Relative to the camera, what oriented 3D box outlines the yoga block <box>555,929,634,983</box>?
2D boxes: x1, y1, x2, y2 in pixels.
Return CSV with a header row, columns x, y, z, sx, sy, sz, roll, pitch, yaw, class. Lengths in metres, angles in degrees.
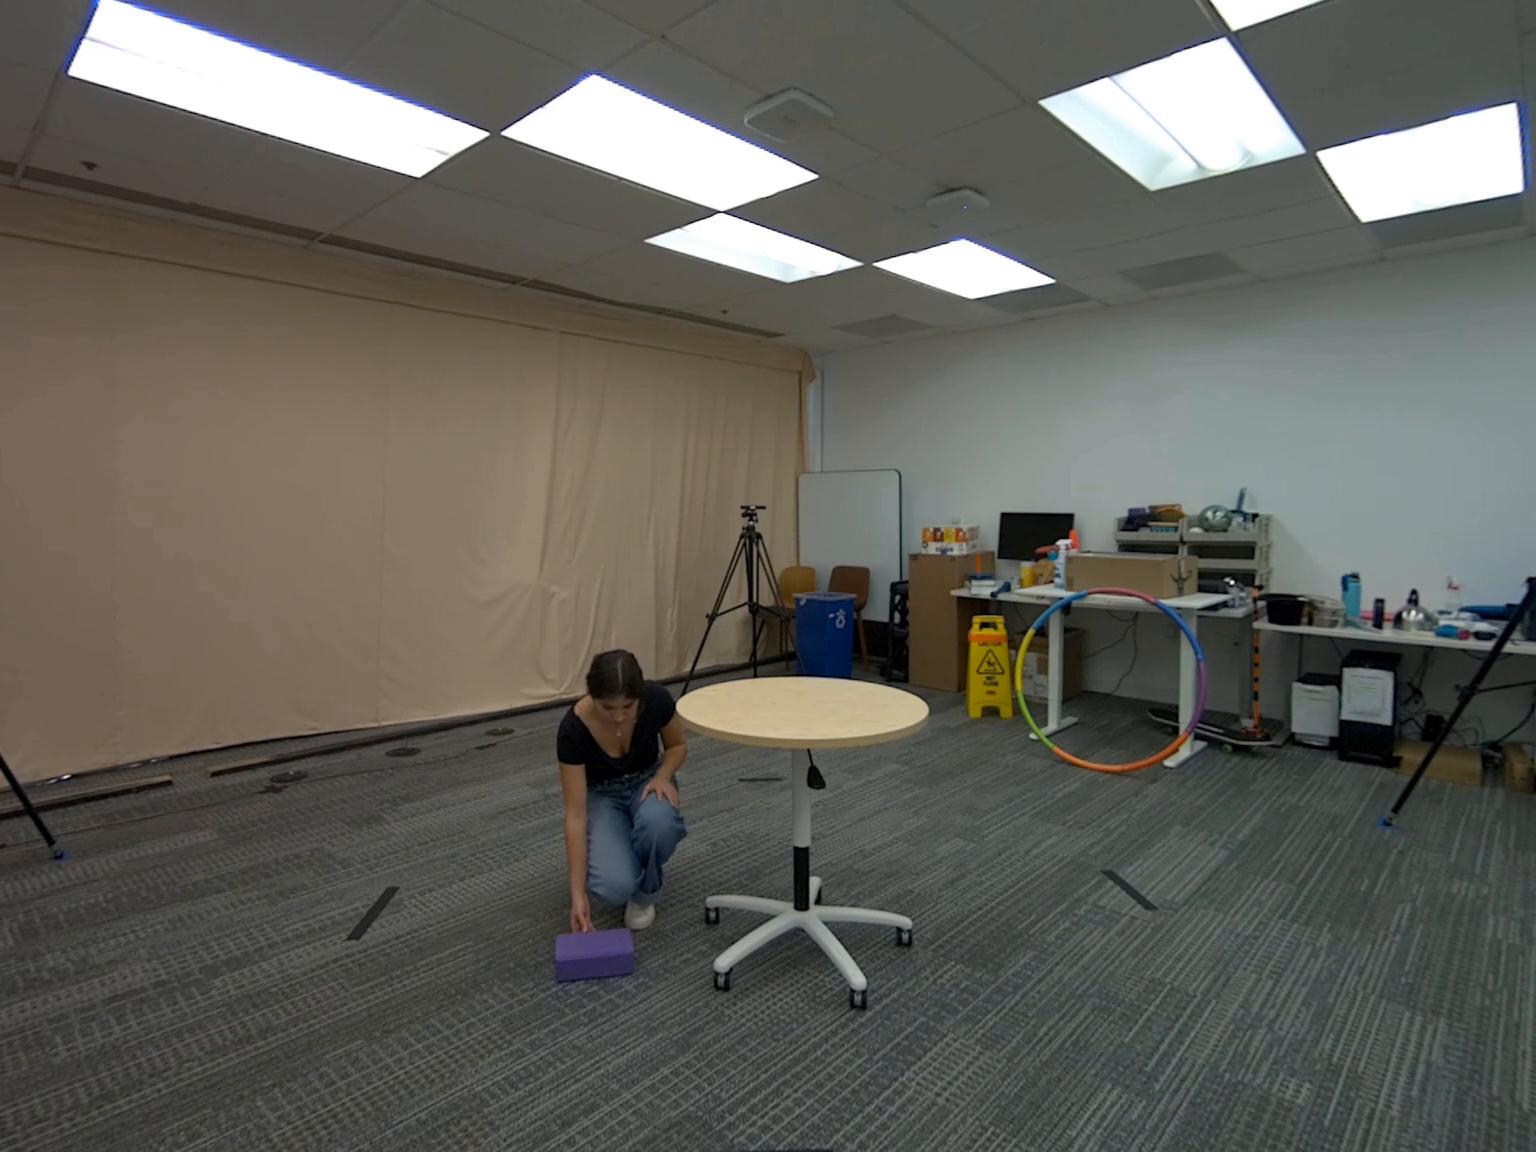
x,y,z,sx,sy,sz,roll,pitch,yaw,class
-0.528,1.133,2.554,0.227,0.076,0.151,0,6,-10,yoga block
